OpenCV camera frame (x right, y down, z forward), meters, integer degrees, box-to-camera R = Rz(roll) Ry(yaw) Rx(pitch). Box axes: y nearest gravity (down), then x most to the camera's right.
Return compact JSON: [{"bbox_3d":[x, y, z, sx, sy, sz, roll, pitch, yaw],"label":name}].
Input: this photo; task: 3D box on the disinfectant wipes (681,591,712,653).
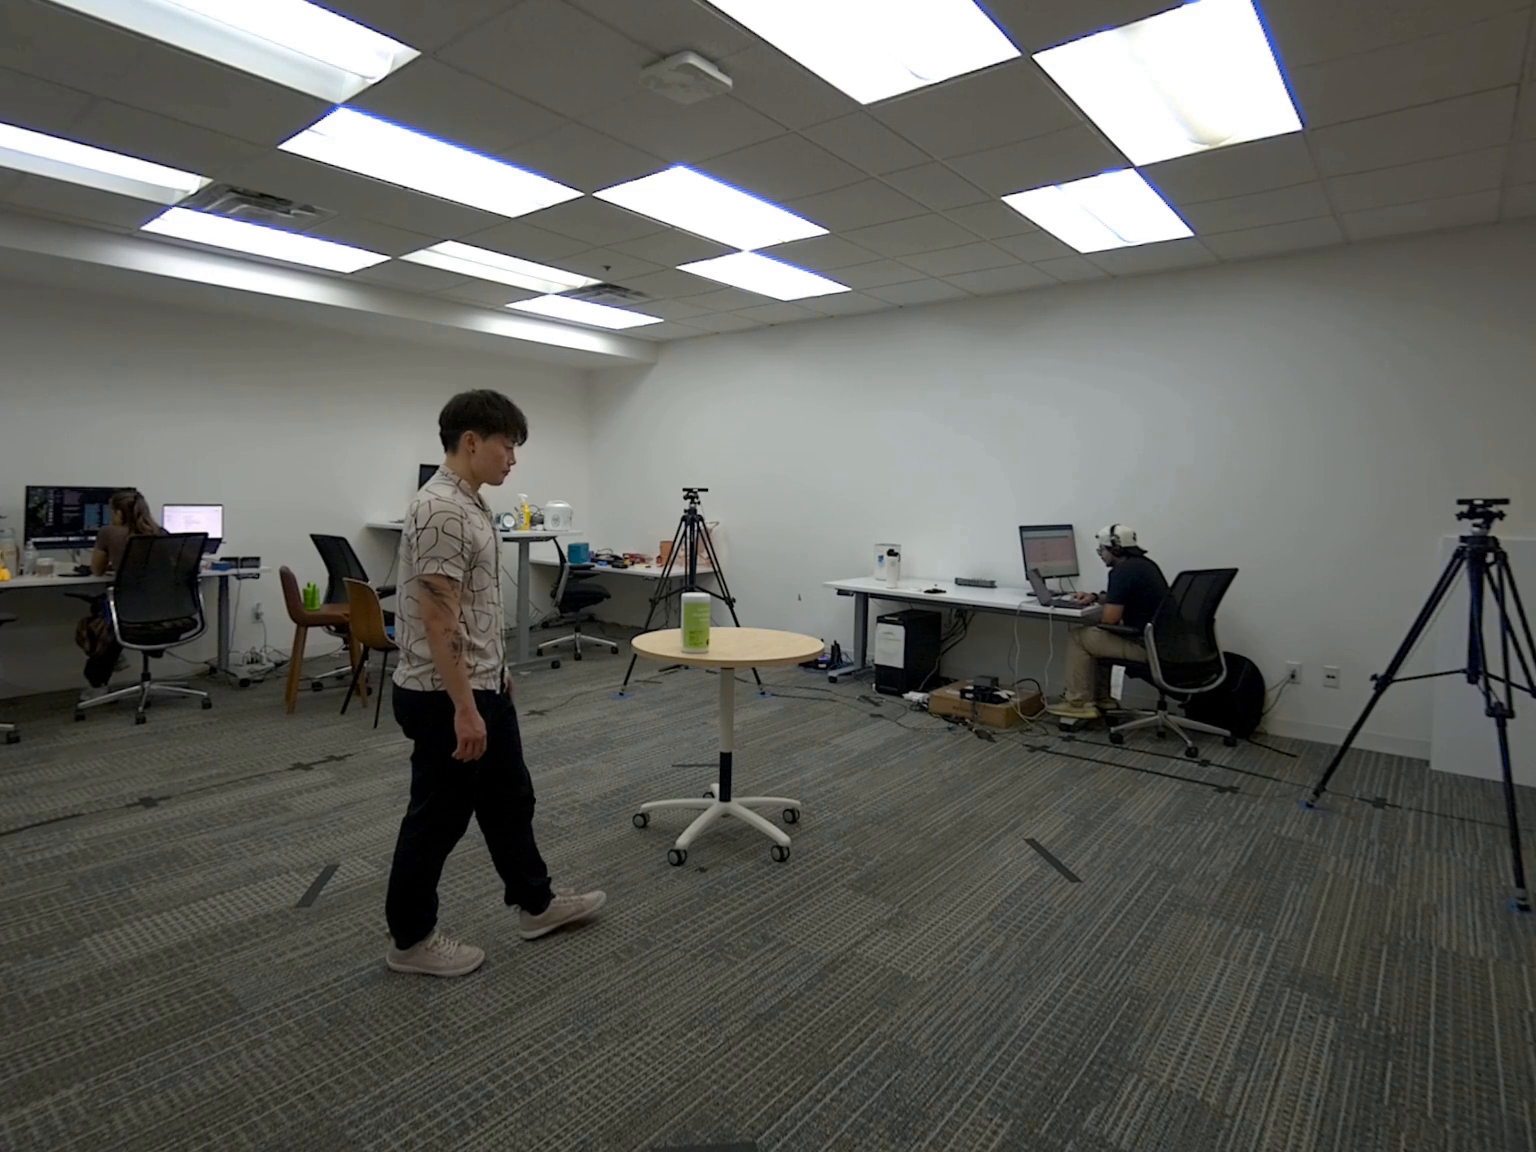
[{"bbox_3d":[-0.279,0.172,3.173,0.117,0.217,0.118,2,4,-2],"label":"disinfectant wipes"}]
